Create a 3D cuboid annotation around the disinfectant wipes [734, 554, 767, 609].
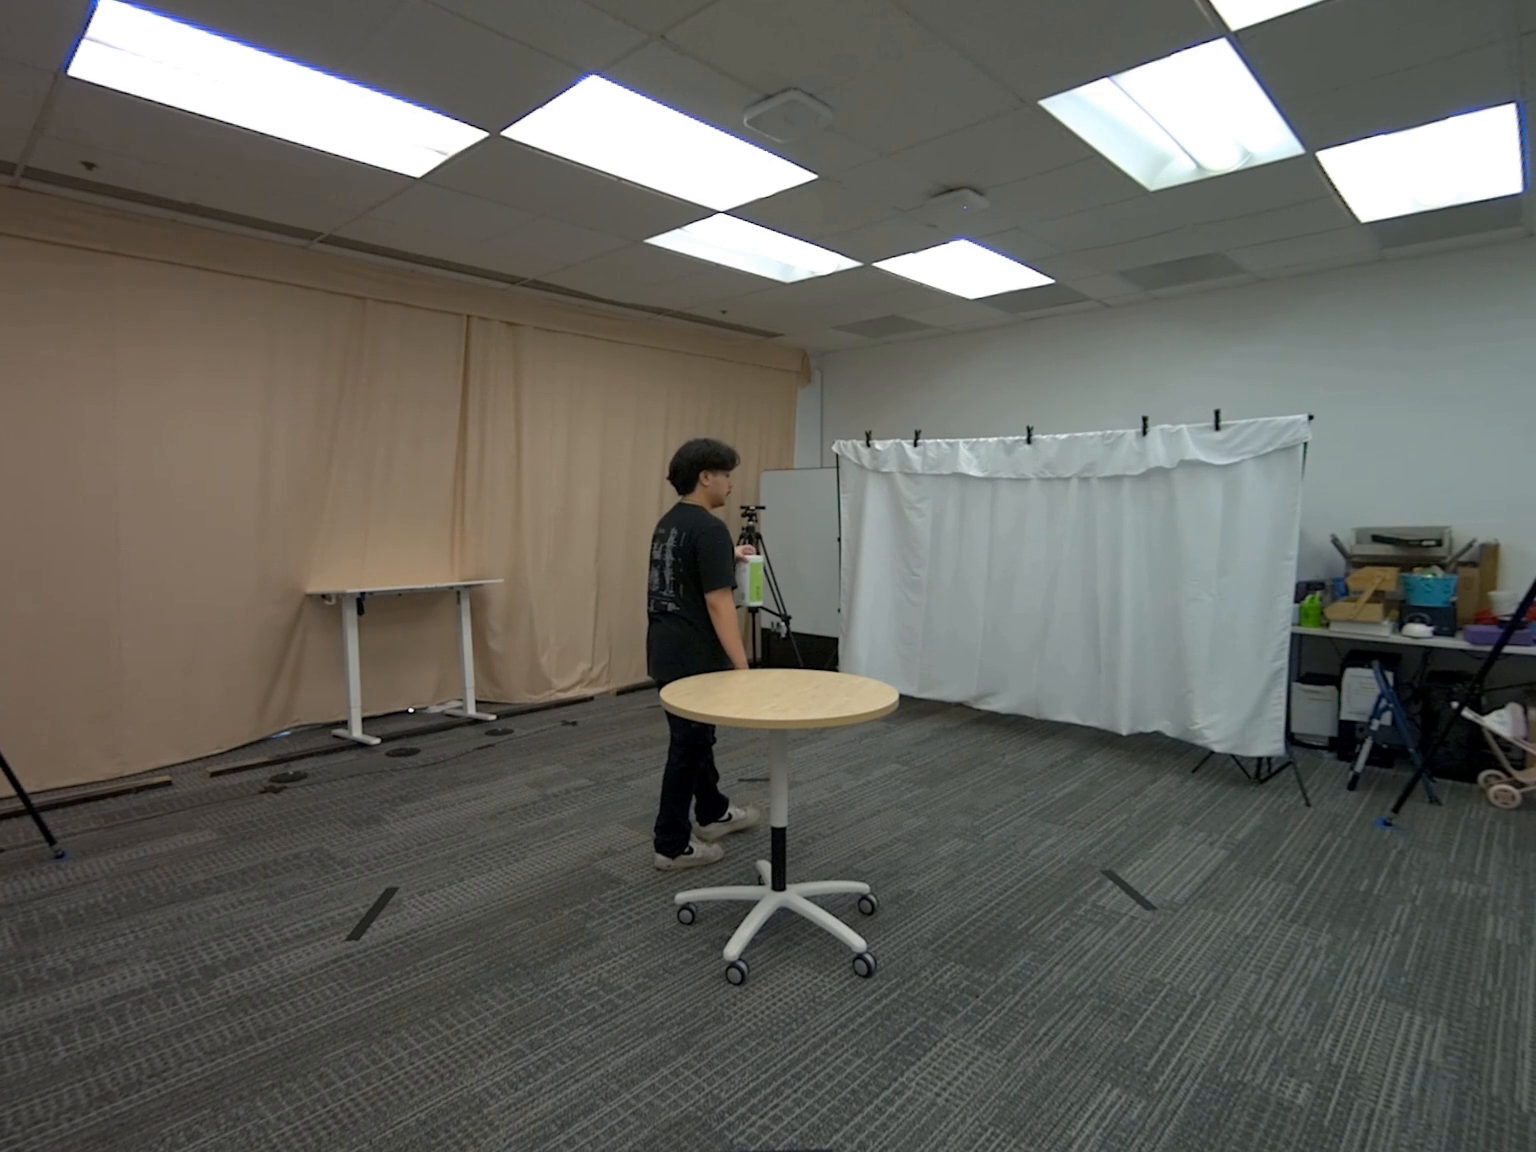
[{"bbox_3d":[-0.079,0.017,3.576,0.117,0.217,0.118,4,2,-2],"label":"disinfectant wipes"}]
